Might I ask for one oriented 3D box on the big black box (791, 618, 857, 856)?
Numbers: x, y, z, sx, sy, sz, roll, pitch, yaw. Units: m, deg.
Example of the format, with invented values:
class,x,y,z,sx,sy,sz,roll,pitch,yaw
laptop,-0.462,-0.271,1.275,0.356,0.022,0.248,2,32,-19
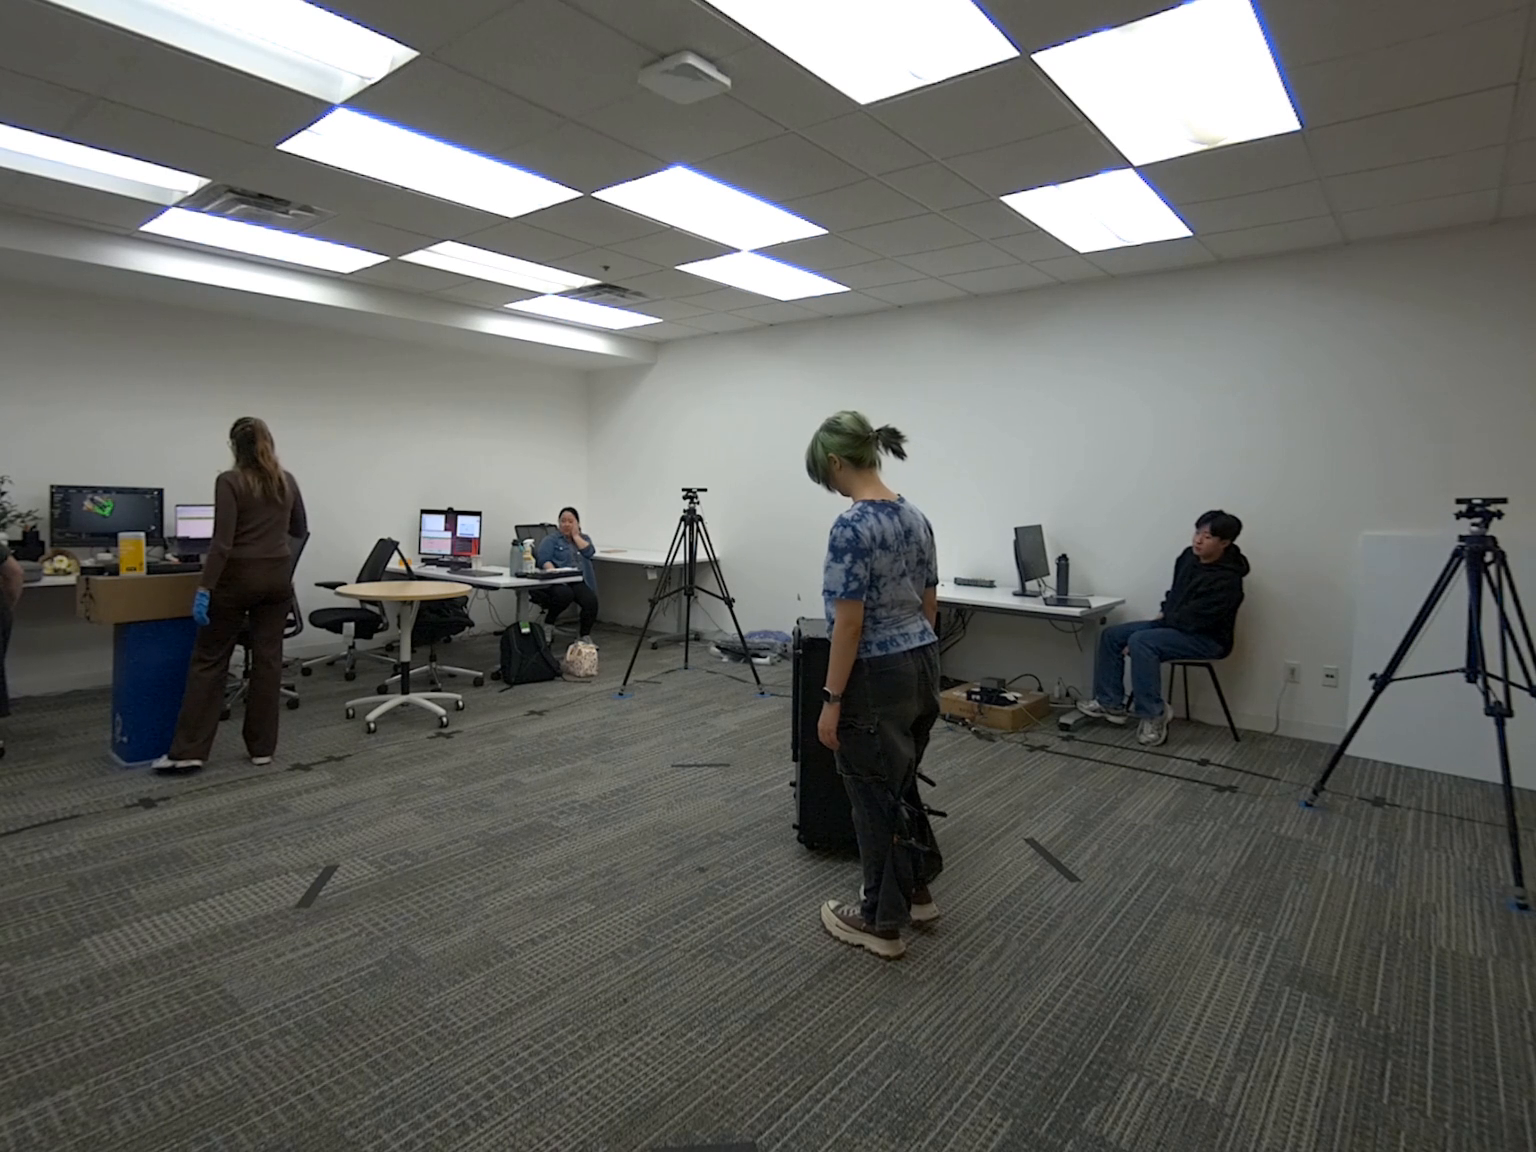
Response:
class,x,y,z,sx,sy,sz,roll,pitch,yaw
big black box,0.280,0.628,3.394,0.398,0.858,0.521,0,4,3
